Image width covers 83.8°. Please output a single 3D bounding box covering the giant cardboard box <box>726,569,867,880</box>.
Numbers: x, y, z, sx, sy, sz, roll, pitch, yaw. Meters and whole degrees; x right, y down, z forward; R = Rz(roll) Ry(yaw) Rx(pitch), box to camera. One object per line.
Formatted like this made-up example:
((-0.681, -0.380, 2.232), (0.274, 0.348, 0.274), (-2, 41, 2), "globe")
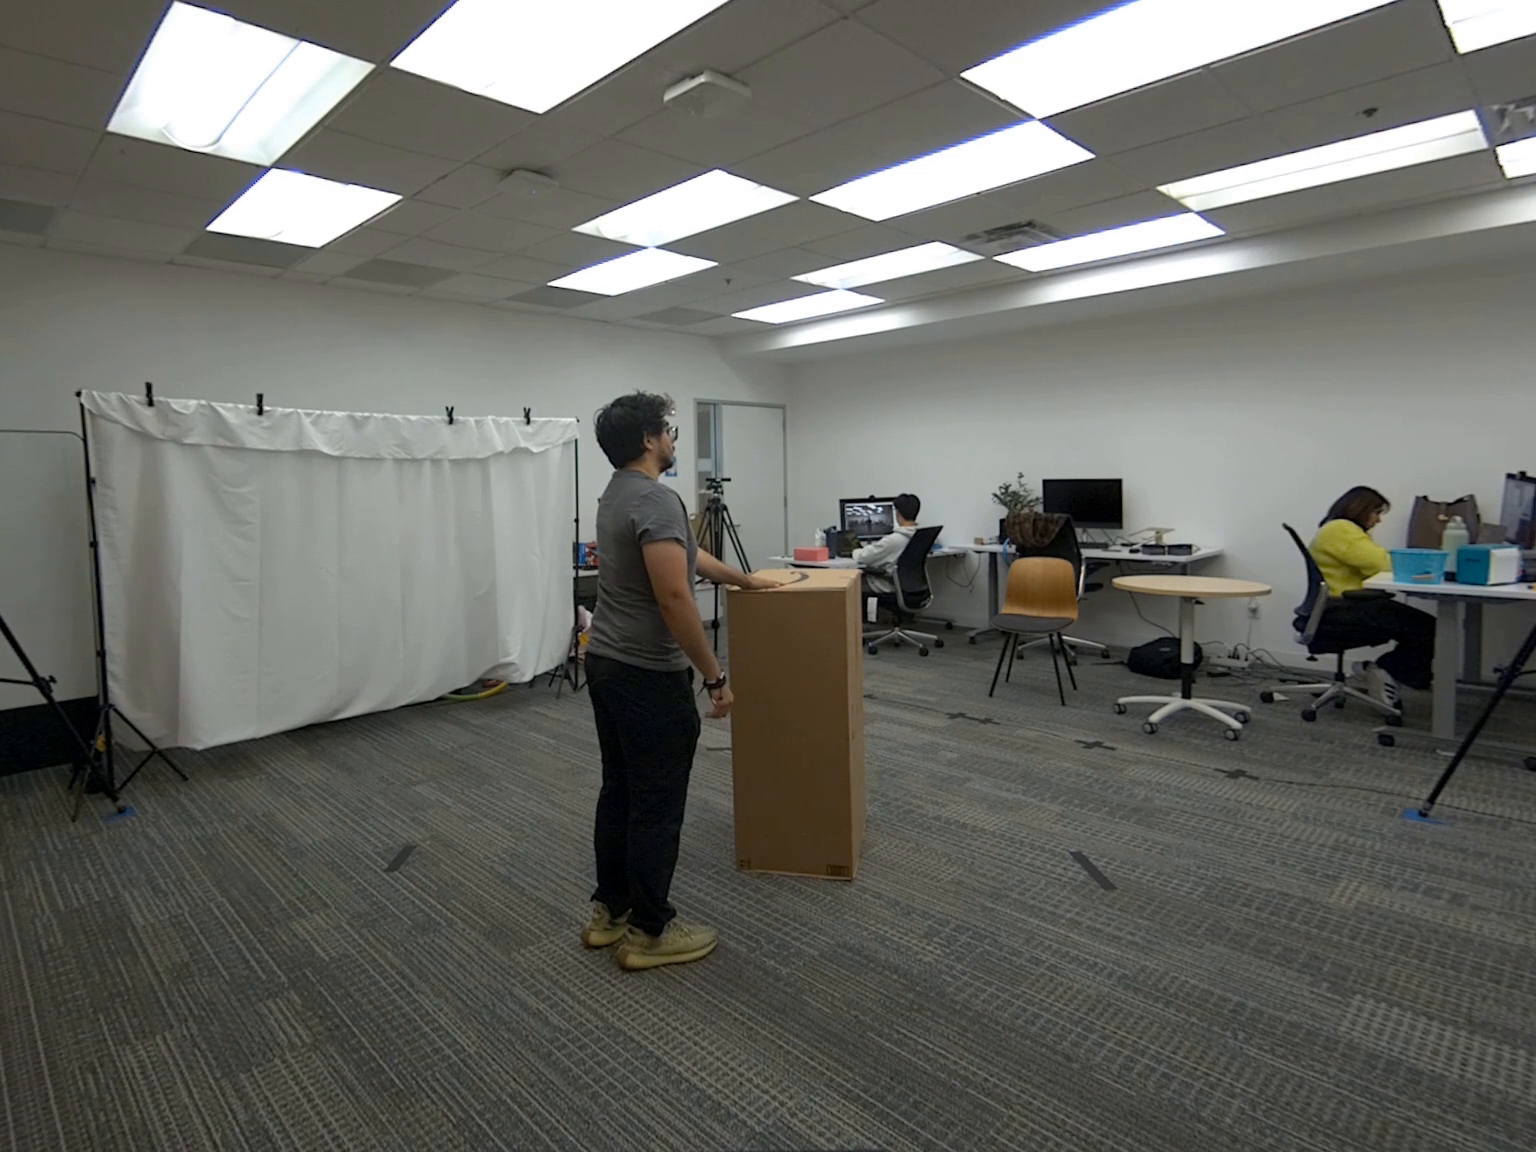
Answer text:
((0.123, 0.514, 3.238), (0.432, 1.022, 0.572), (-1, 5, 13), "giant cardboard box")
